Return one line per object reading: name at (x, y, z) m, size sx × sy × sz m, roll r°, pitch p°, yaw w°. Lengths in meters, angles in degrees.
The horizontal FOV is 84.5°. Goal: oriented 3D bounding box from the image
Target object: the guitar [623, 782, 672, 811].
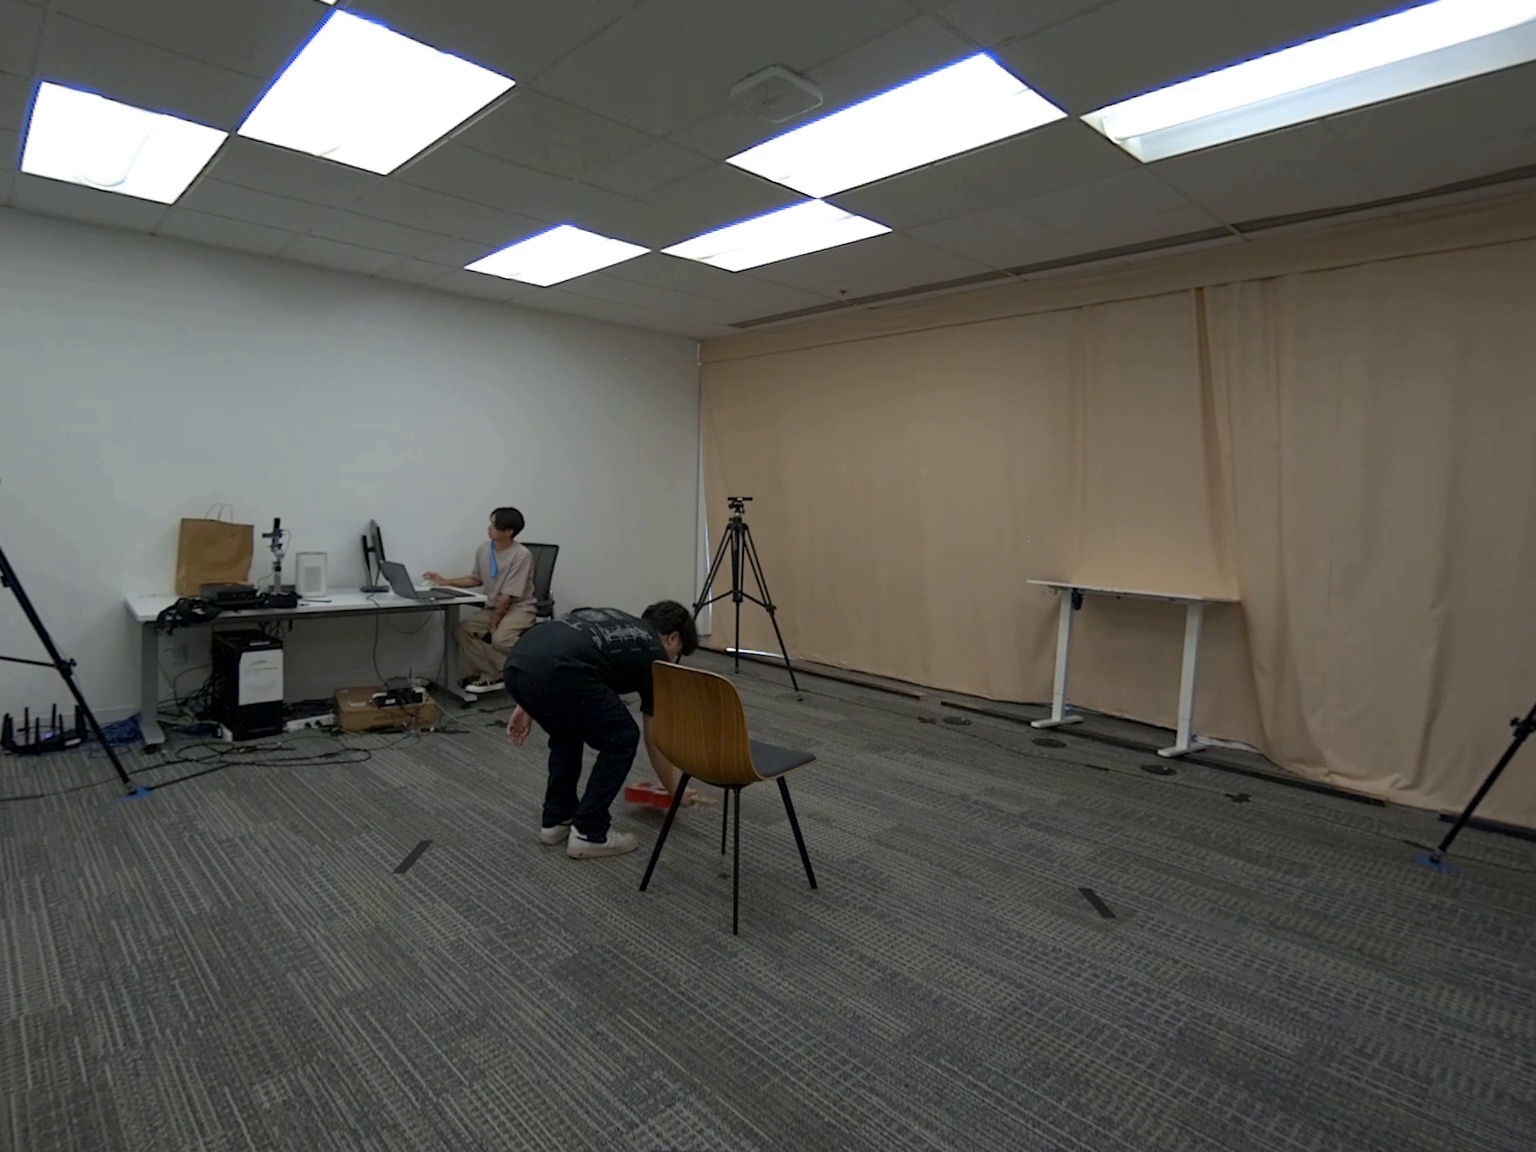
guitar at (-0.433, 0.950, 3.589) m, size 0.188 × 0.071 × 0.509 m, roll 6°, pitch -5°, yaw -39°
